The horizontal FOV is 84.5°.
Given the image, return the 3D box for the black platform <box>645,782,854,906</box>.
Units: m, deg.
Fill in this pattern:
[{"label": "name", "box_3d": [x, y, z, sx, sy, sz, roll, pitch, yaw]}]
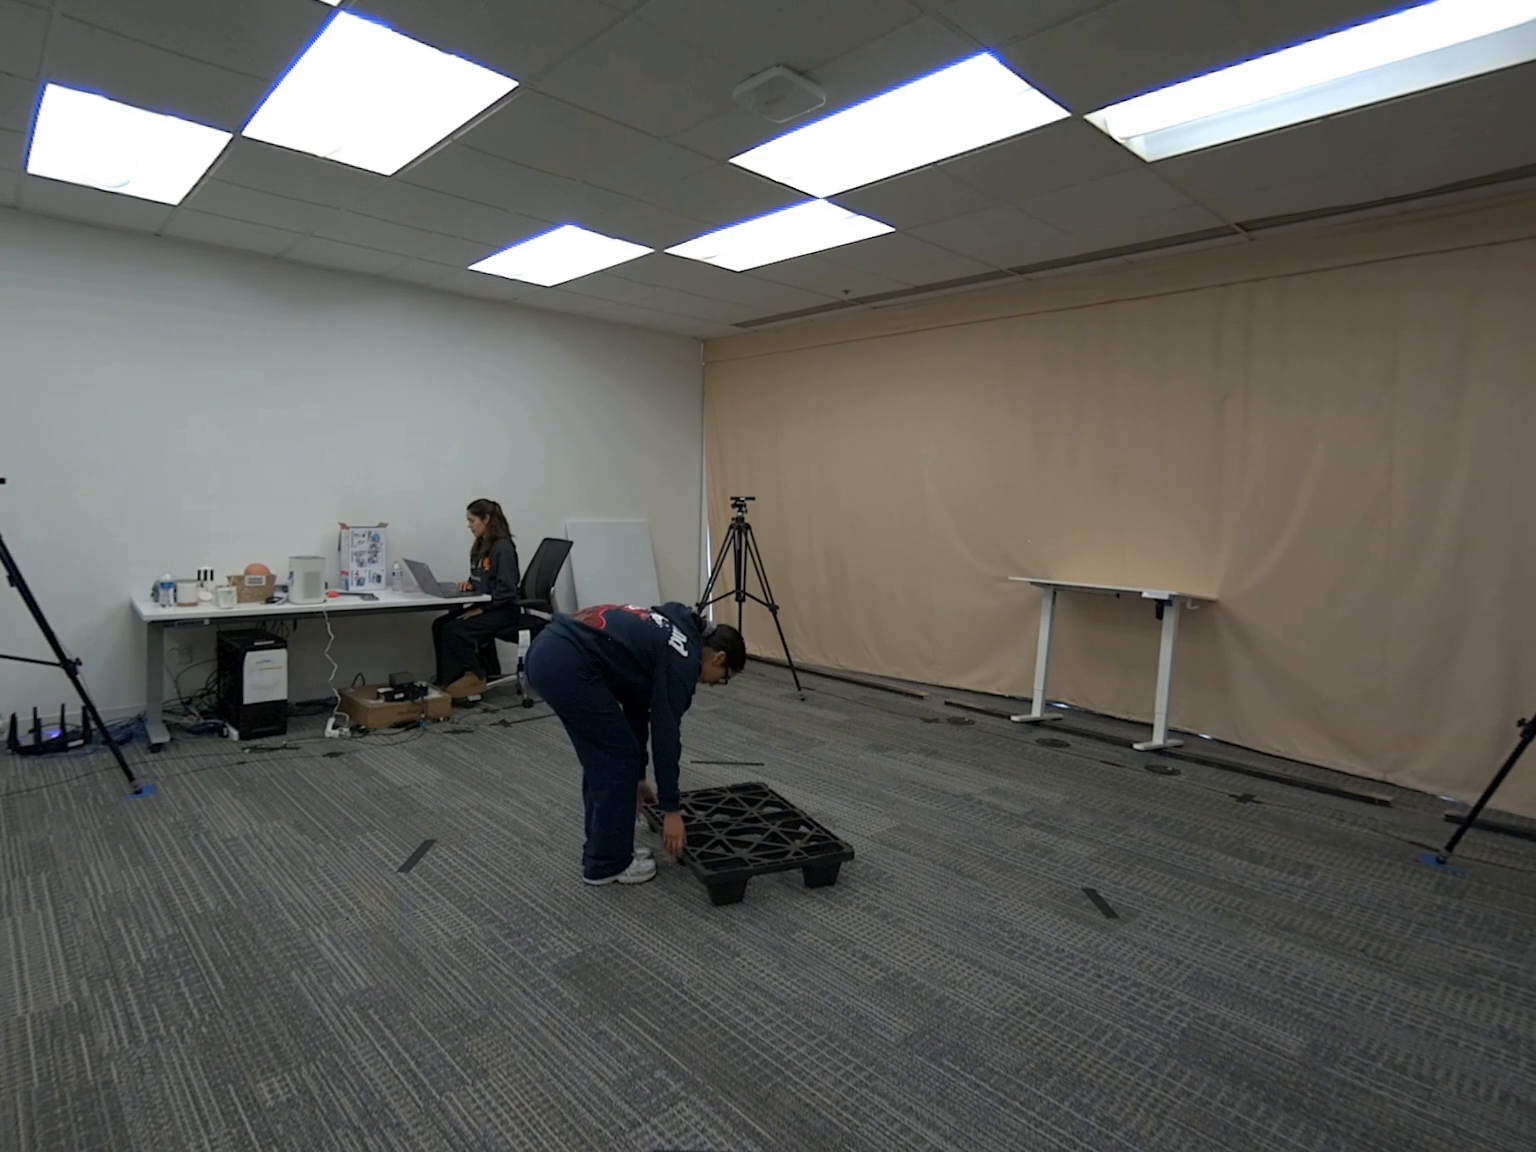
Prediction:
[{"label": "black platform", "box_3d": [-0.127, 1.025, 3.291, 0.594, 0.143, 0.822, 0, 6, -25]}]
